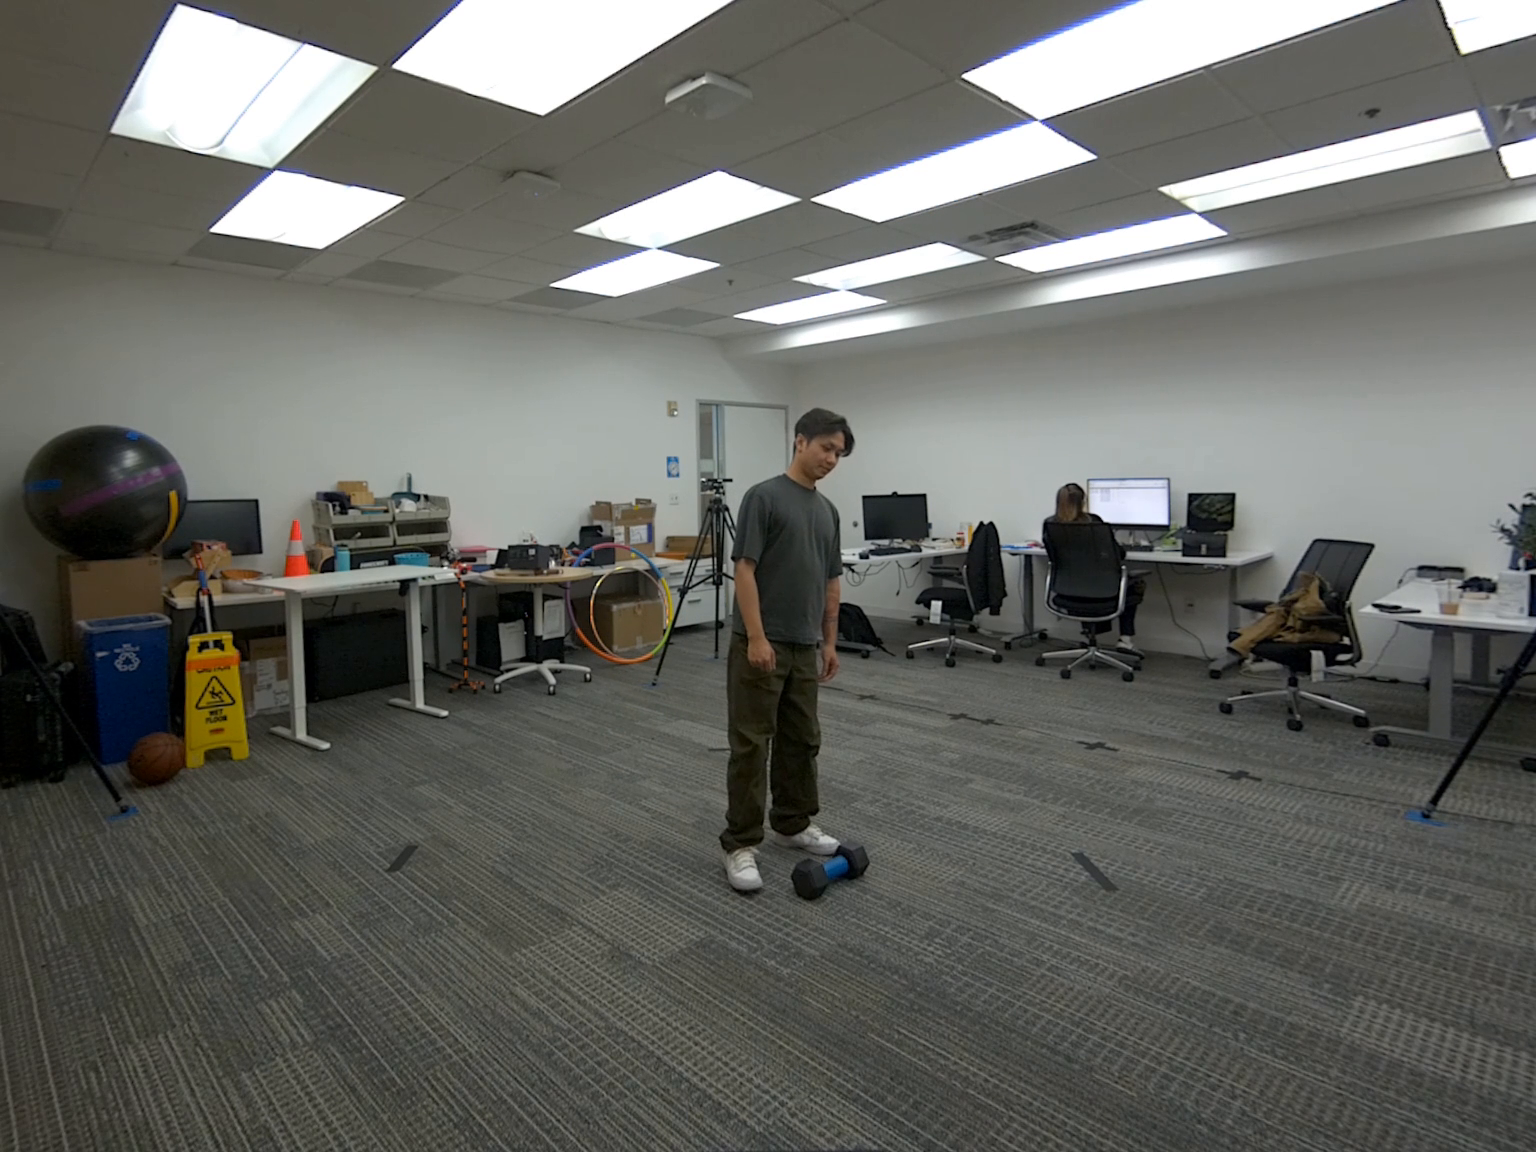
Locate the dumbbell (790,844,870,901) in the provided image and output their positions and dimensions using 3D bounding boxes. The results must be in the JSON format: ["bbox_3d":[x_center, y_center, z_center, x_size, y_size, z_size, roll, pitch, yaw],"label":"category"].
[{"bbox_3d":[0.217,1.006,2.927,0.286,0.121,0.113,-6,38,-41],"label":"dumbbell"}]
